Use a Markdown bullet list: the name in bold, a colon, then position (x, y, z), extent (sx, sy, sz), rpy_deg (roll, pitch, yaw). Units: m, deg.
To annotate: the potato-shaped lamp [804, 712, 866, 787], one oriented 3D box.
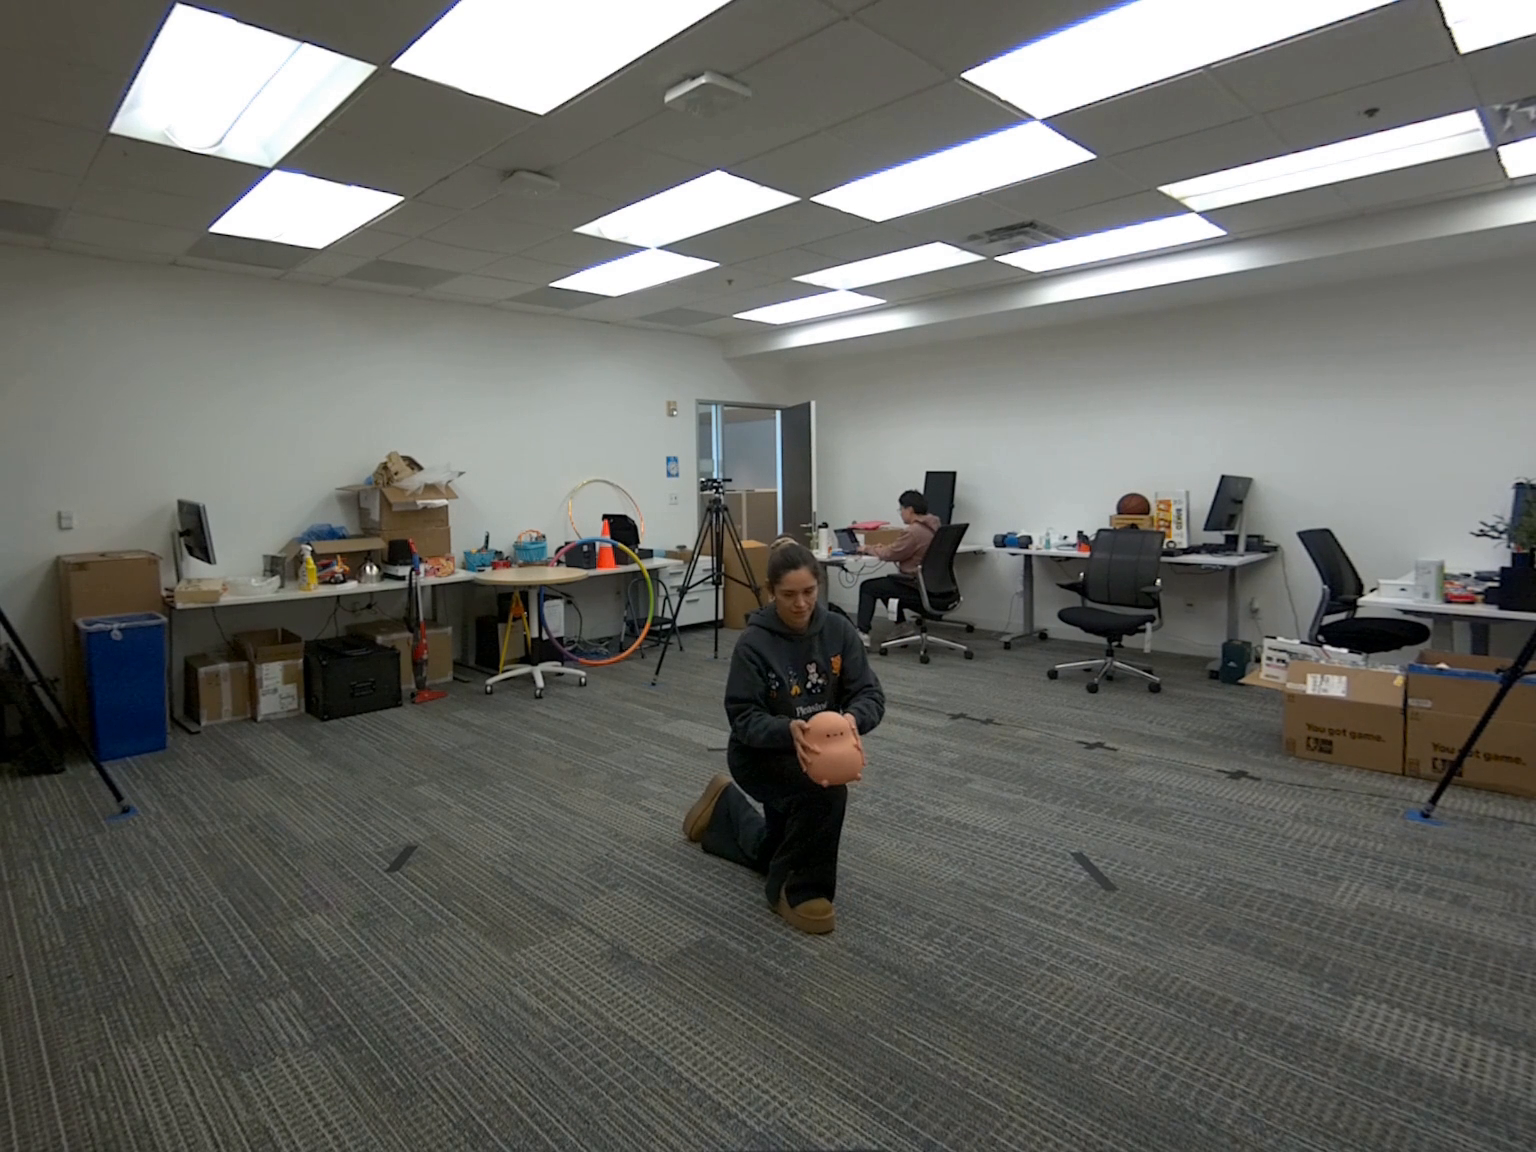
- **potato-shaped lamp**: position (0.172, 0.493, 2.462), extent (0.163, 0.198, 0.172), rpy_deg (-8, -1, -11)
